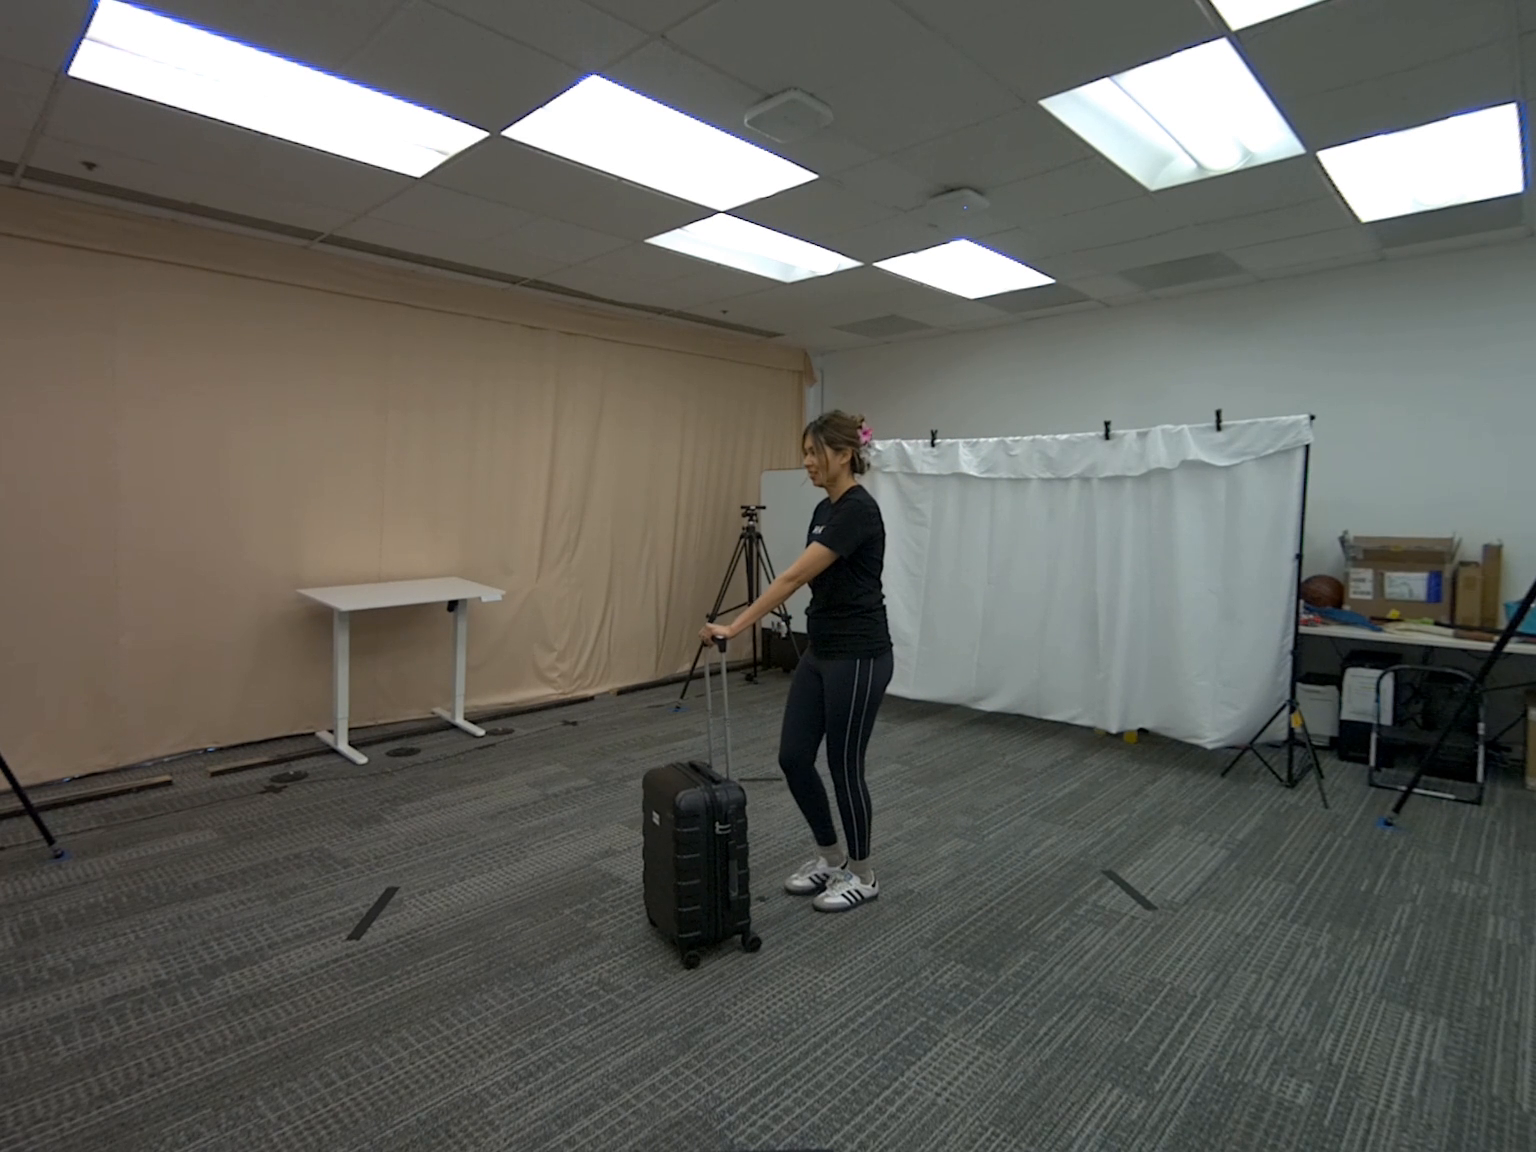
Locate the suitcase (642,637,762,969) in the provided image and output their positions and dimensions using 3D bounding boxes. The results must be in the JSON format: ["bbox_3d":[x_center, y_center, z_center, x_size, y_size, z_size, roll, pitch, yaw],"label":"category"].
[{"bbox_3d":[-0.245,0.696,2.682,0.251,0.976,0.394,-3,4,-24],"label":"suitcase"}]
